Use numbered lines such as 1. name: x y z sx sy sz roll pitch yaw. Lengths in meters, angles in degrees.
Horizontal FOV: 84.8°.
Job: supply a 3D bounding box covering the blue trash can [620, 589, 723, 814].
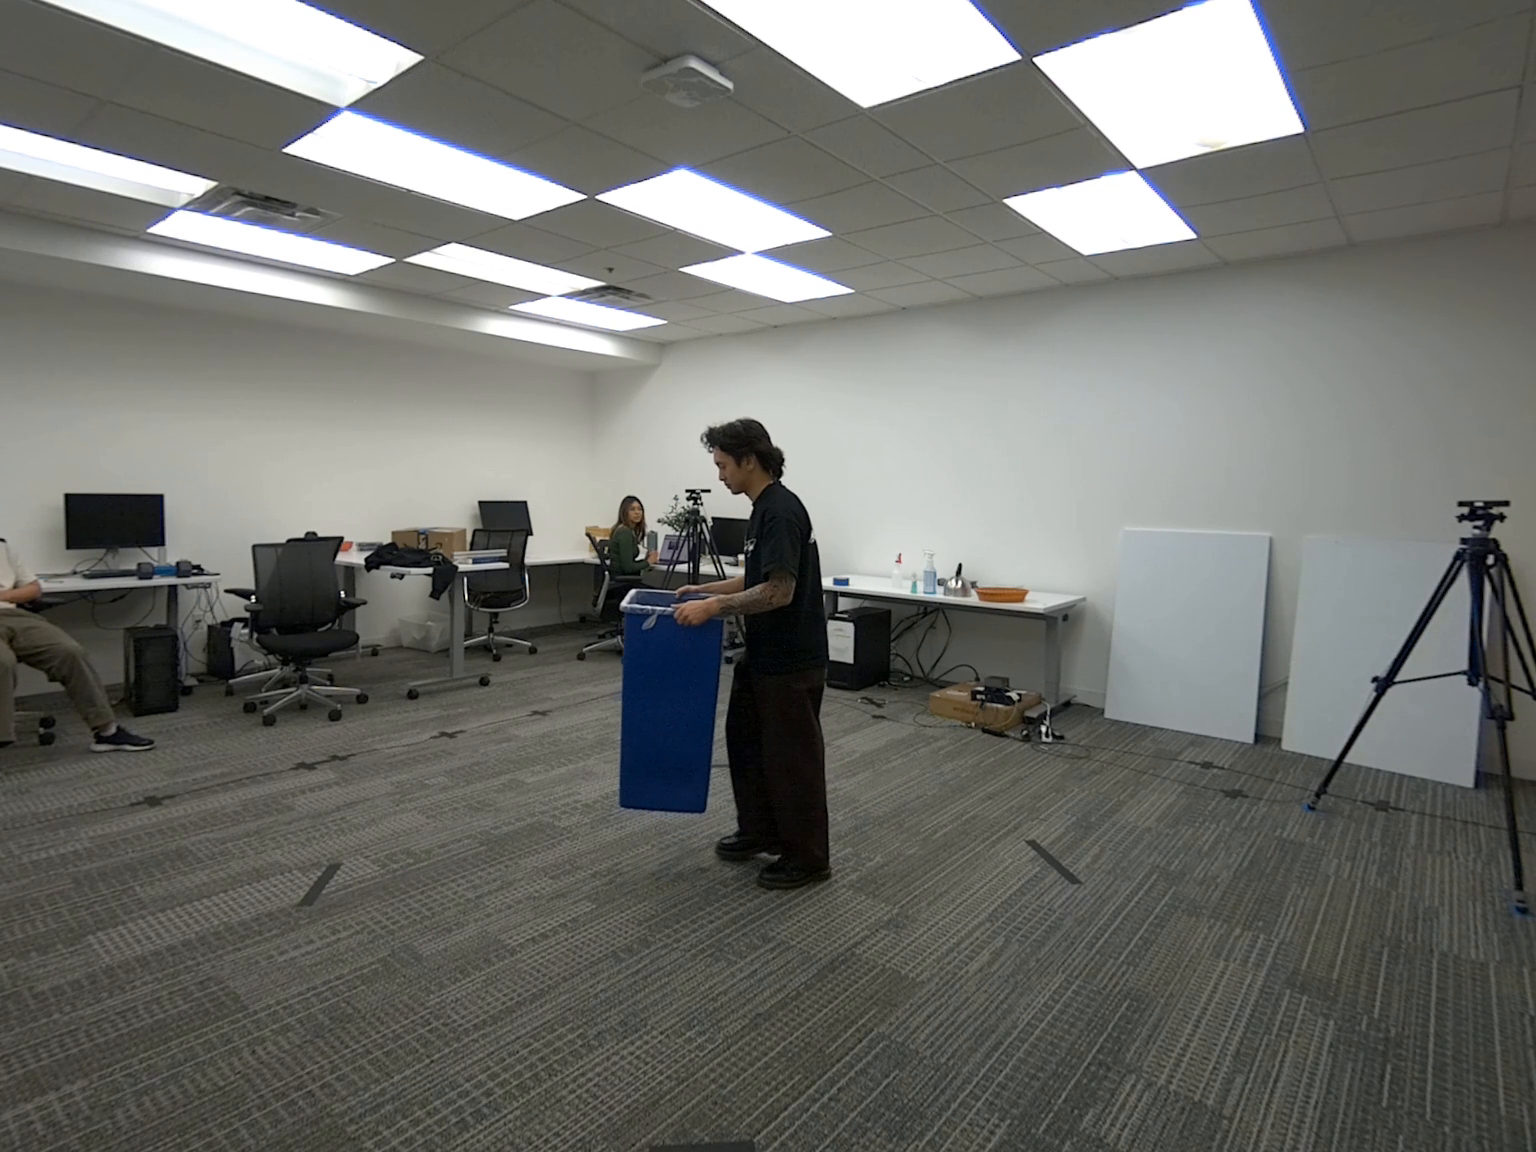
1. blue trash can: -0.369 0.445 3.056 0.377 0.710 0.377 4 6 -3
